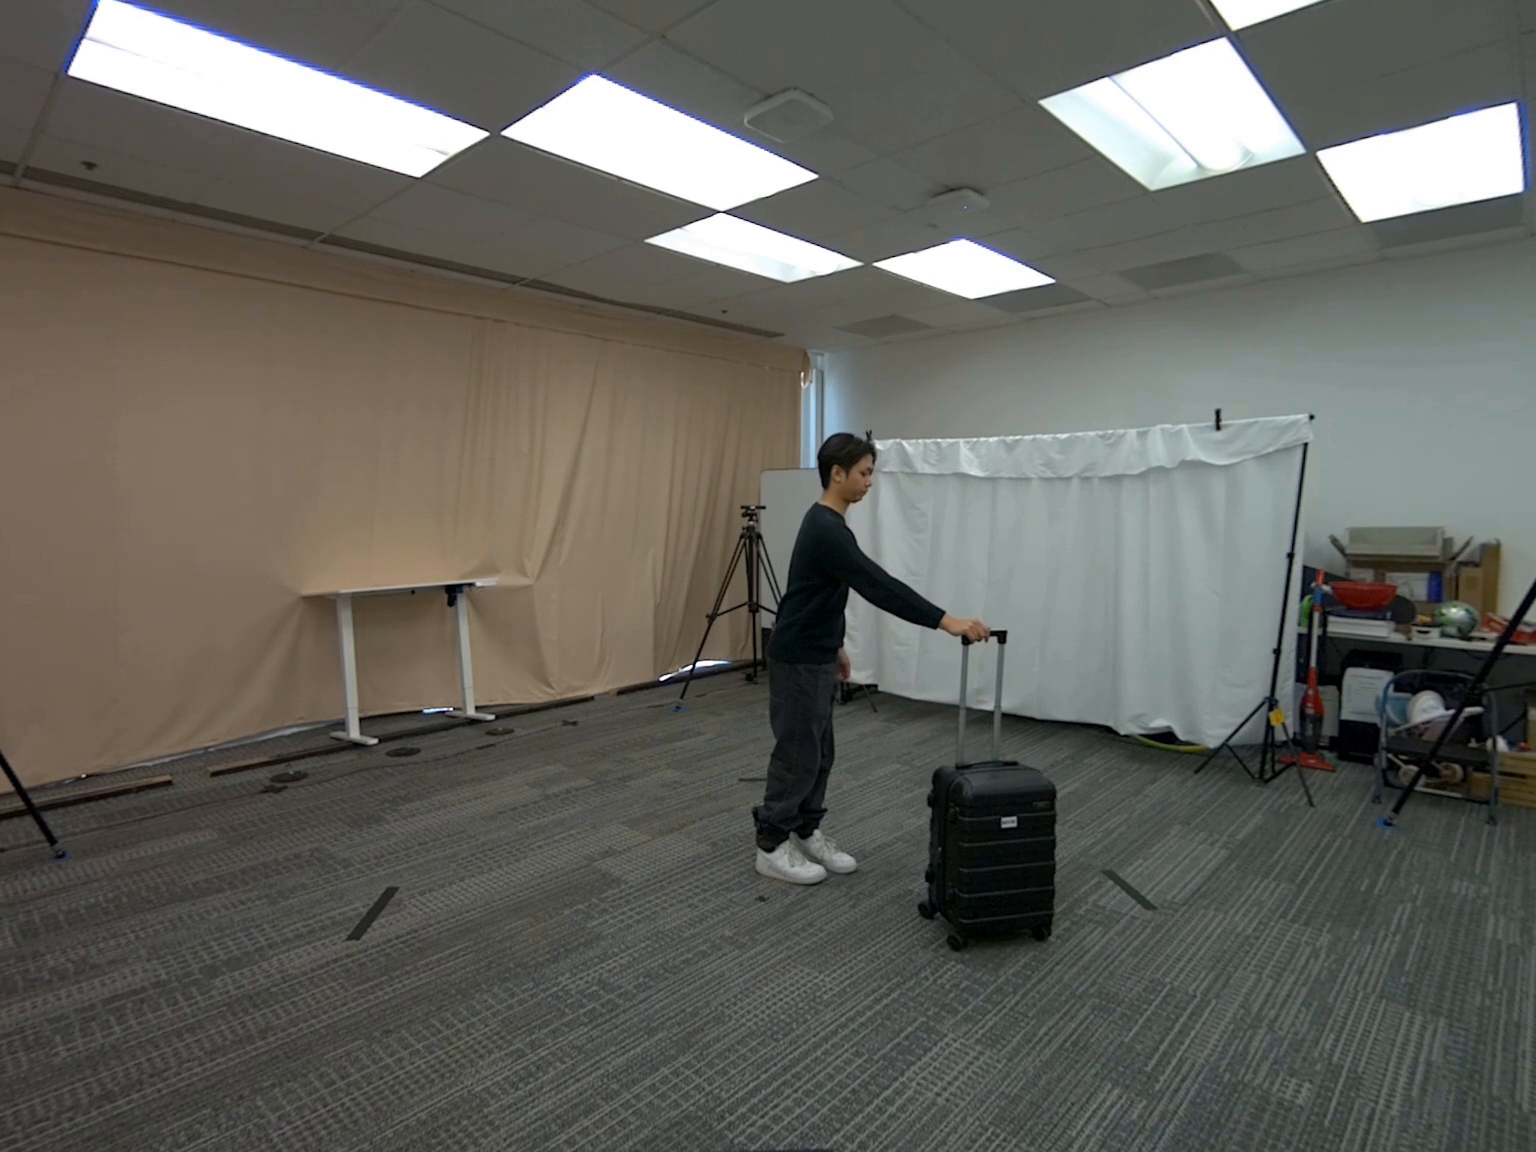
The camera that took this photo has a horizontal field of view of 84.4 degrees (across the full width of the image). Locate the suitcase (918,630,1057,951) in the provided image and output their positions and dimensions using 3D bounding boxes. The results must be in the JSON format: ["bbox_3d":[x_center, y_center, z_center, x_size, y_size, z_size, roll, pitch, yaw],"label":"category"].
[{"bbox_3d":[0.741,0.687,2.726,0.379,0.975,0.261,1,5,-12],"label":"suitcase"}]
